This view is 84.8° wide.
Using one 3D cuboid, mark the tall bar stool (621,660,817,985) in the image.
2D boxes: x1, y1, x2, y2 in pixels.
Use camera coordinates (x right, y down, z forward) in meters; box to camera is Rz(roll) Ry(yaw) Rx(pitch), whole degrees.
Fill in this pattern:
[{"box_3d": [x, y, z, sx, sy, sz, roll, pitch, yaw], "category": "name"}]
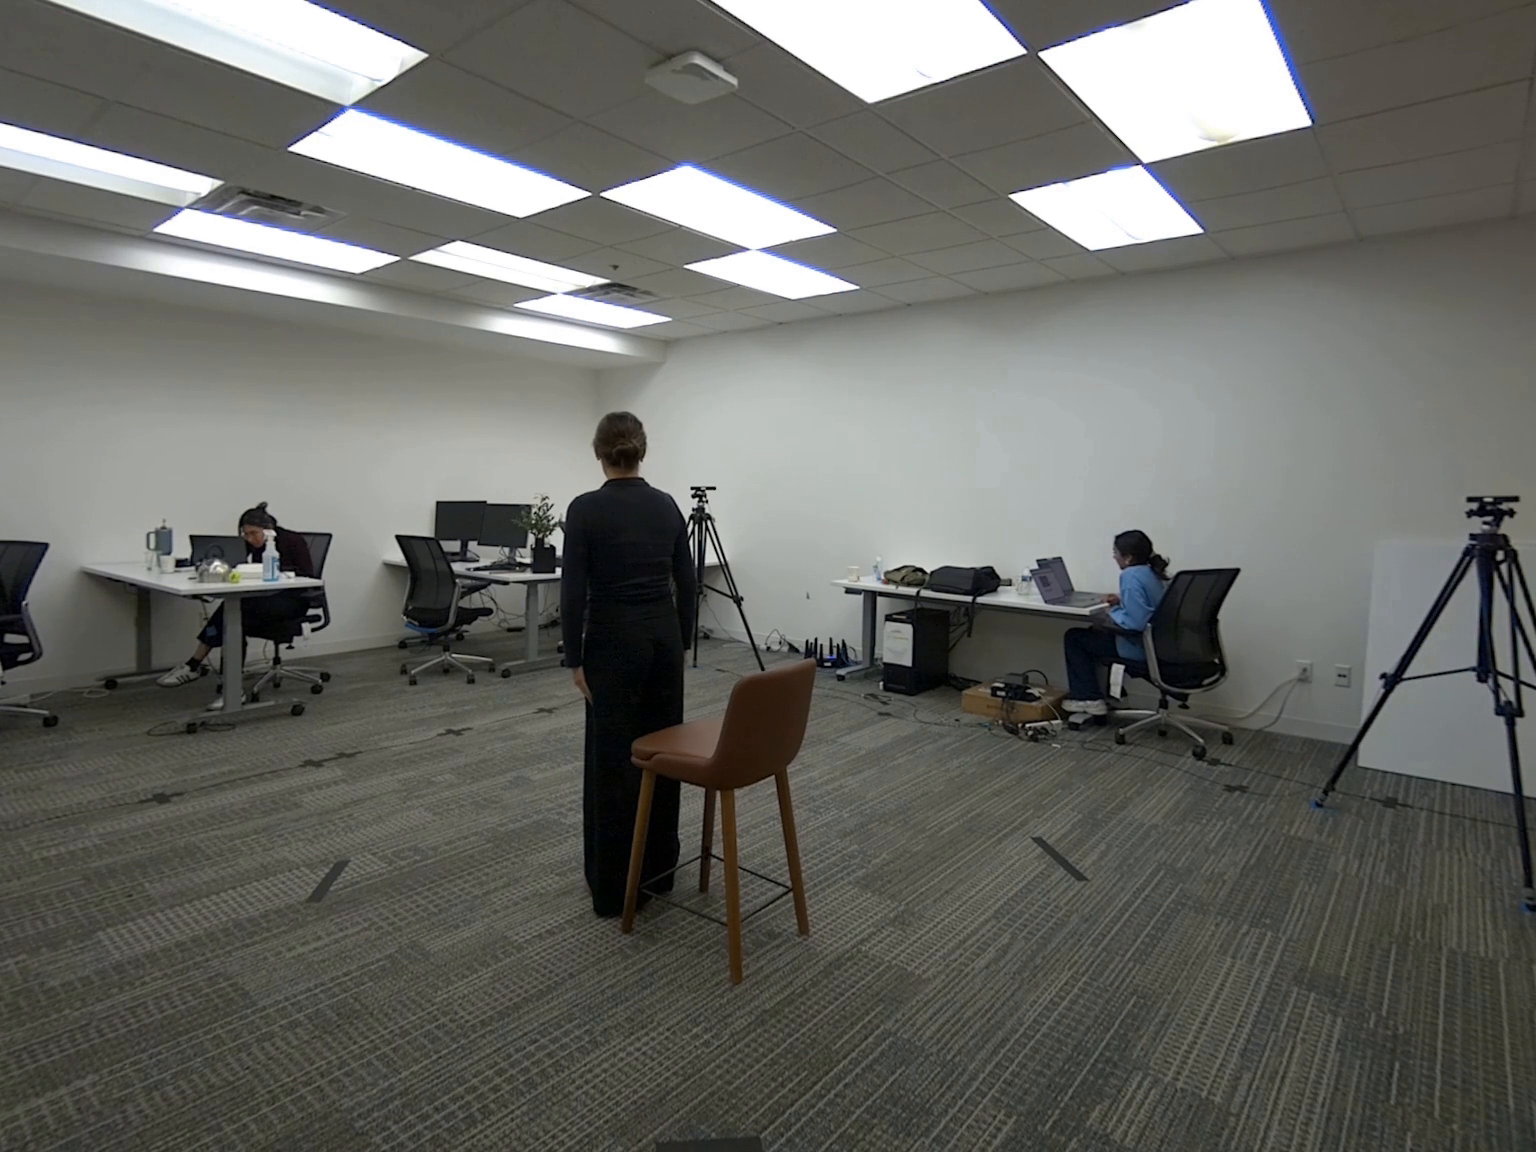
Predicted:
[{"box_3d": [-0.148, 0.680, 2.628, 0.483, 0.886, 0.443, 6, 5, 37], "category": "tall bar stool"}]
